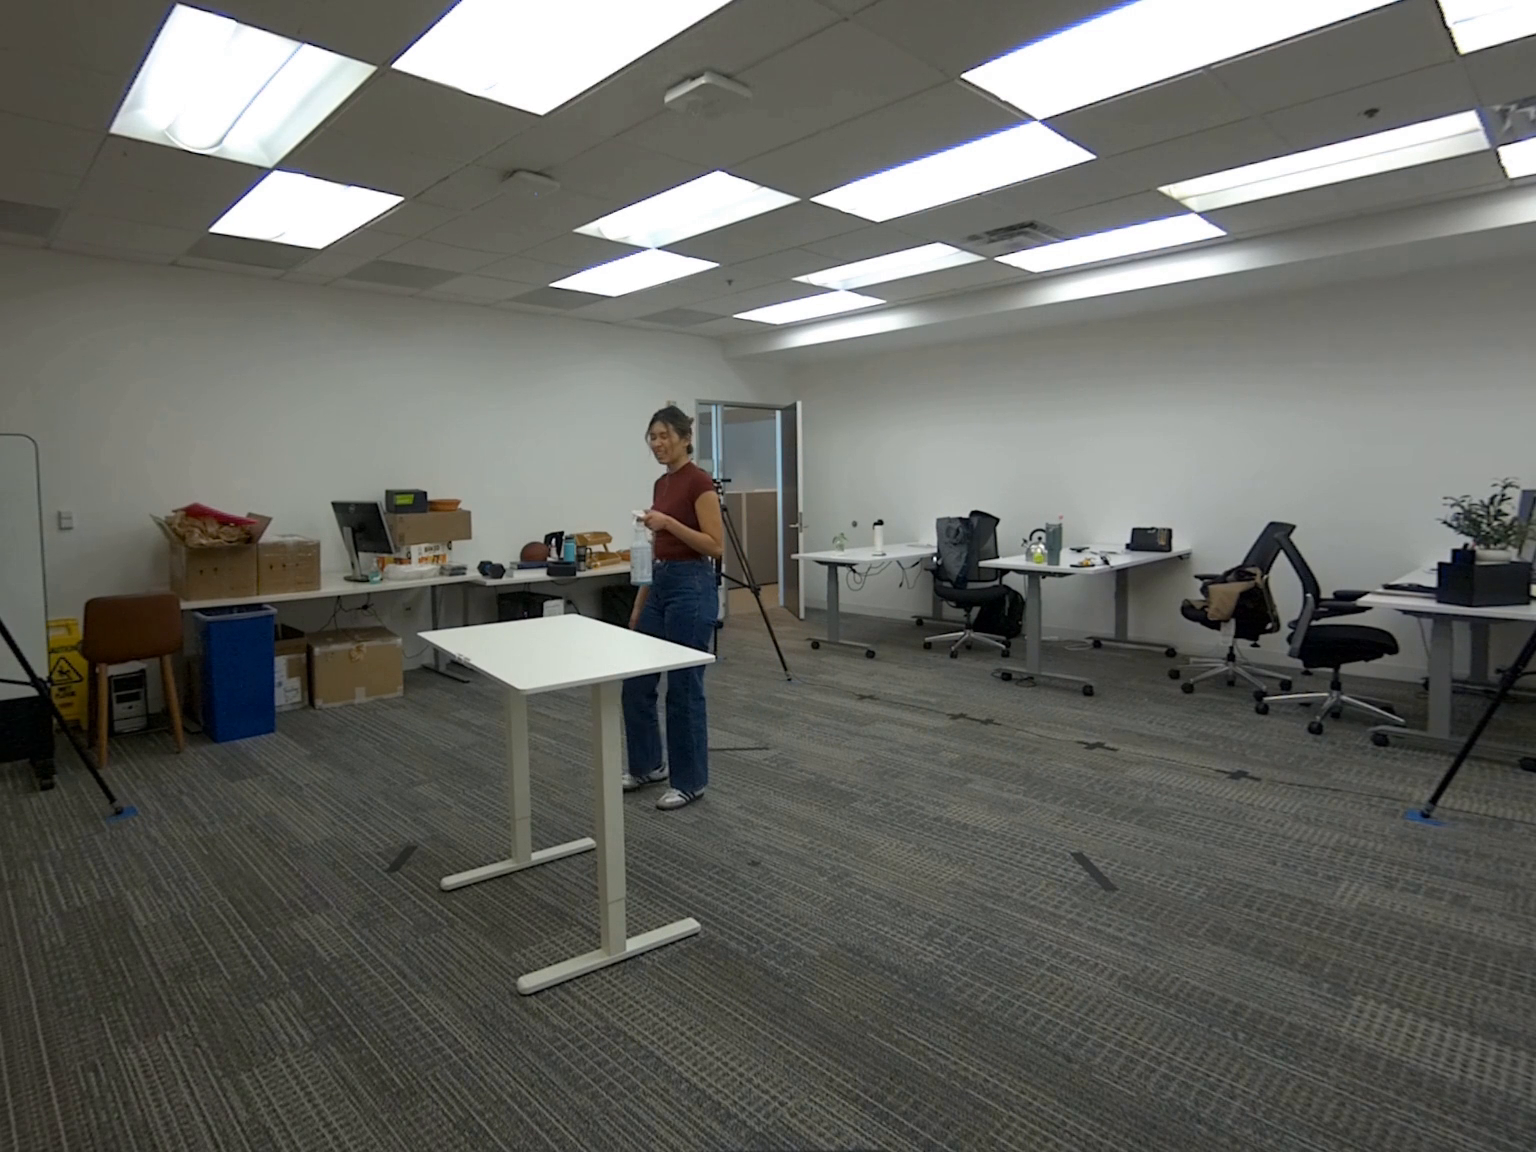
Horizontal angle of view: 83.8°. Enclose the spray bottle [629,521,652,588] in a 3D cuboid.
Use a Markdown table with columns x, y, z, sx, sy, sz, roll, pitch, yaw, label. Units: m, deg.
| x | y | z | sx | sy | sz | roll | pitch | yaw | label |
| --- | --- | --- | --- | --- | --- | --- | --- | --- | --- |
| -0.514 | -0.108 | 3.430 | 0.088 | 0.296 | 0.089 | -3 | 4 | -37 | spray bottle |
